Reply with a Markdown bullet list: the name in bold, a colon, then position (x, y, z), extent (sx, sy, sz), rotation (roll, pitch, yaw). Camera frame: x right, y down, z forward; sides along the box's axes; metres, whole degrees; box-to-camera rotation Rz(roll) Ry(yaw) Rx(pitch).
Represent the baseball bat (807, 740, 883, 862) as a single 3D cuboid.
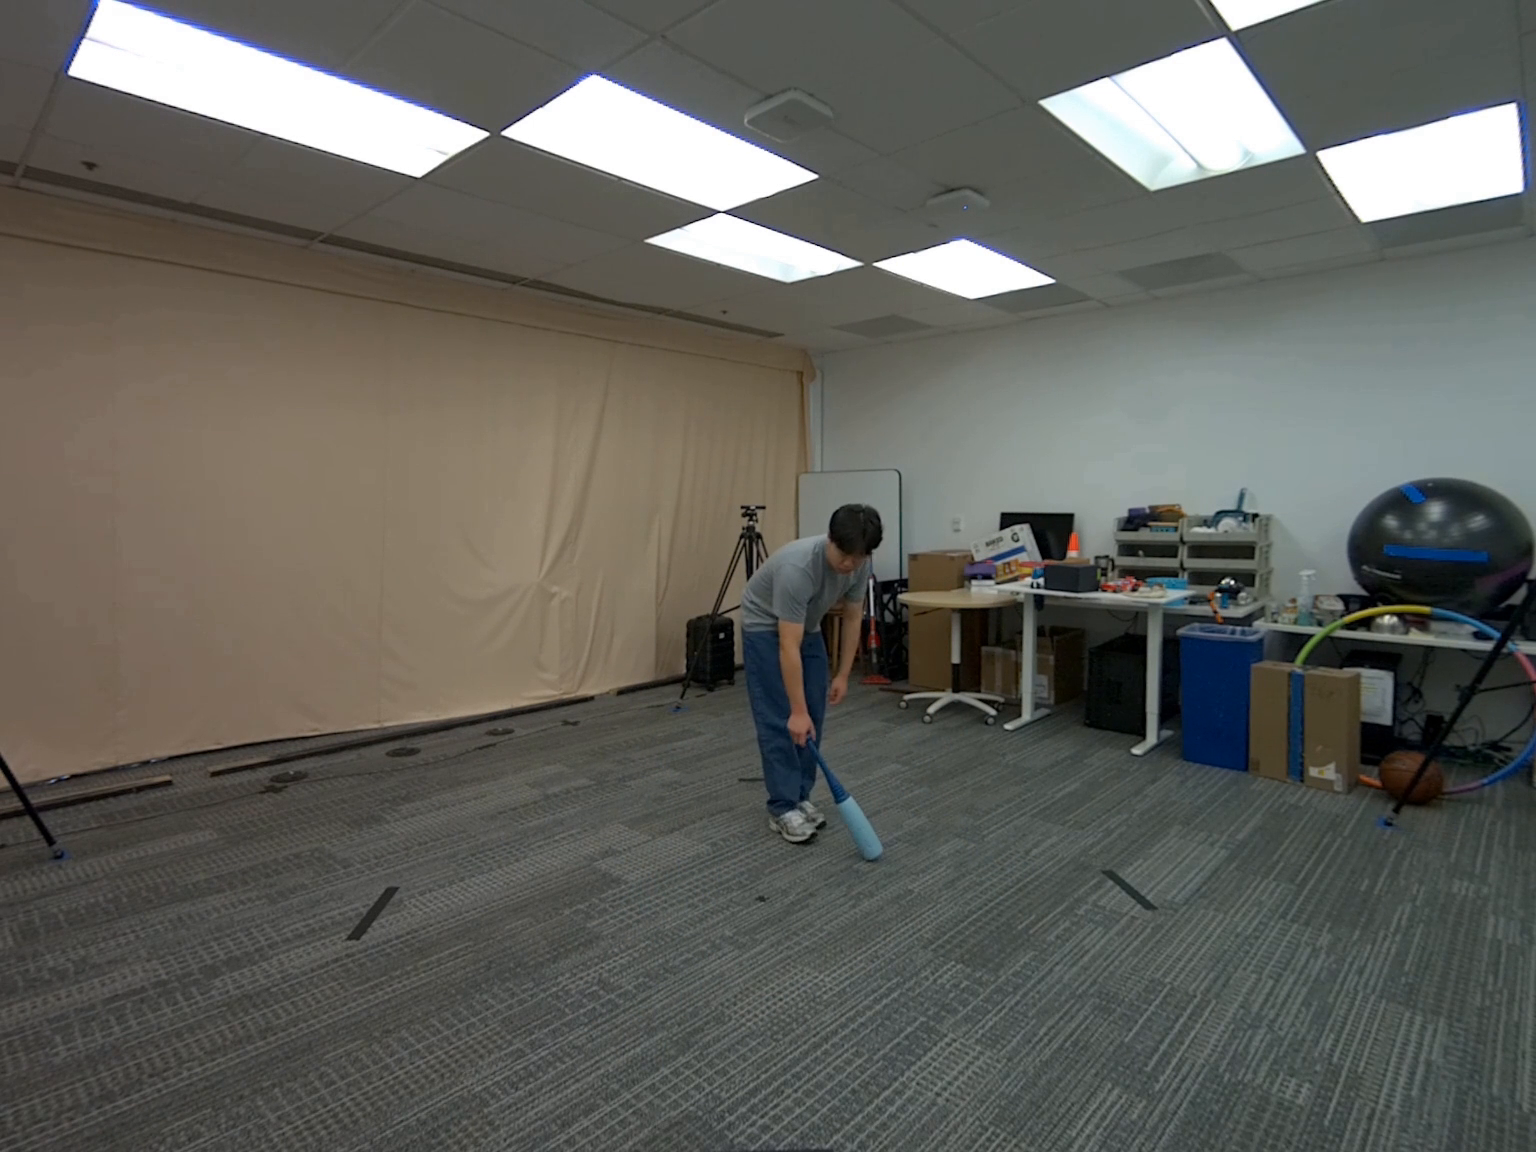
- **baseball bat**: position (0.289, 0.868, 3.329), extent (0.089, 0.546, 0.089), rotation (-29, -4, -4)
